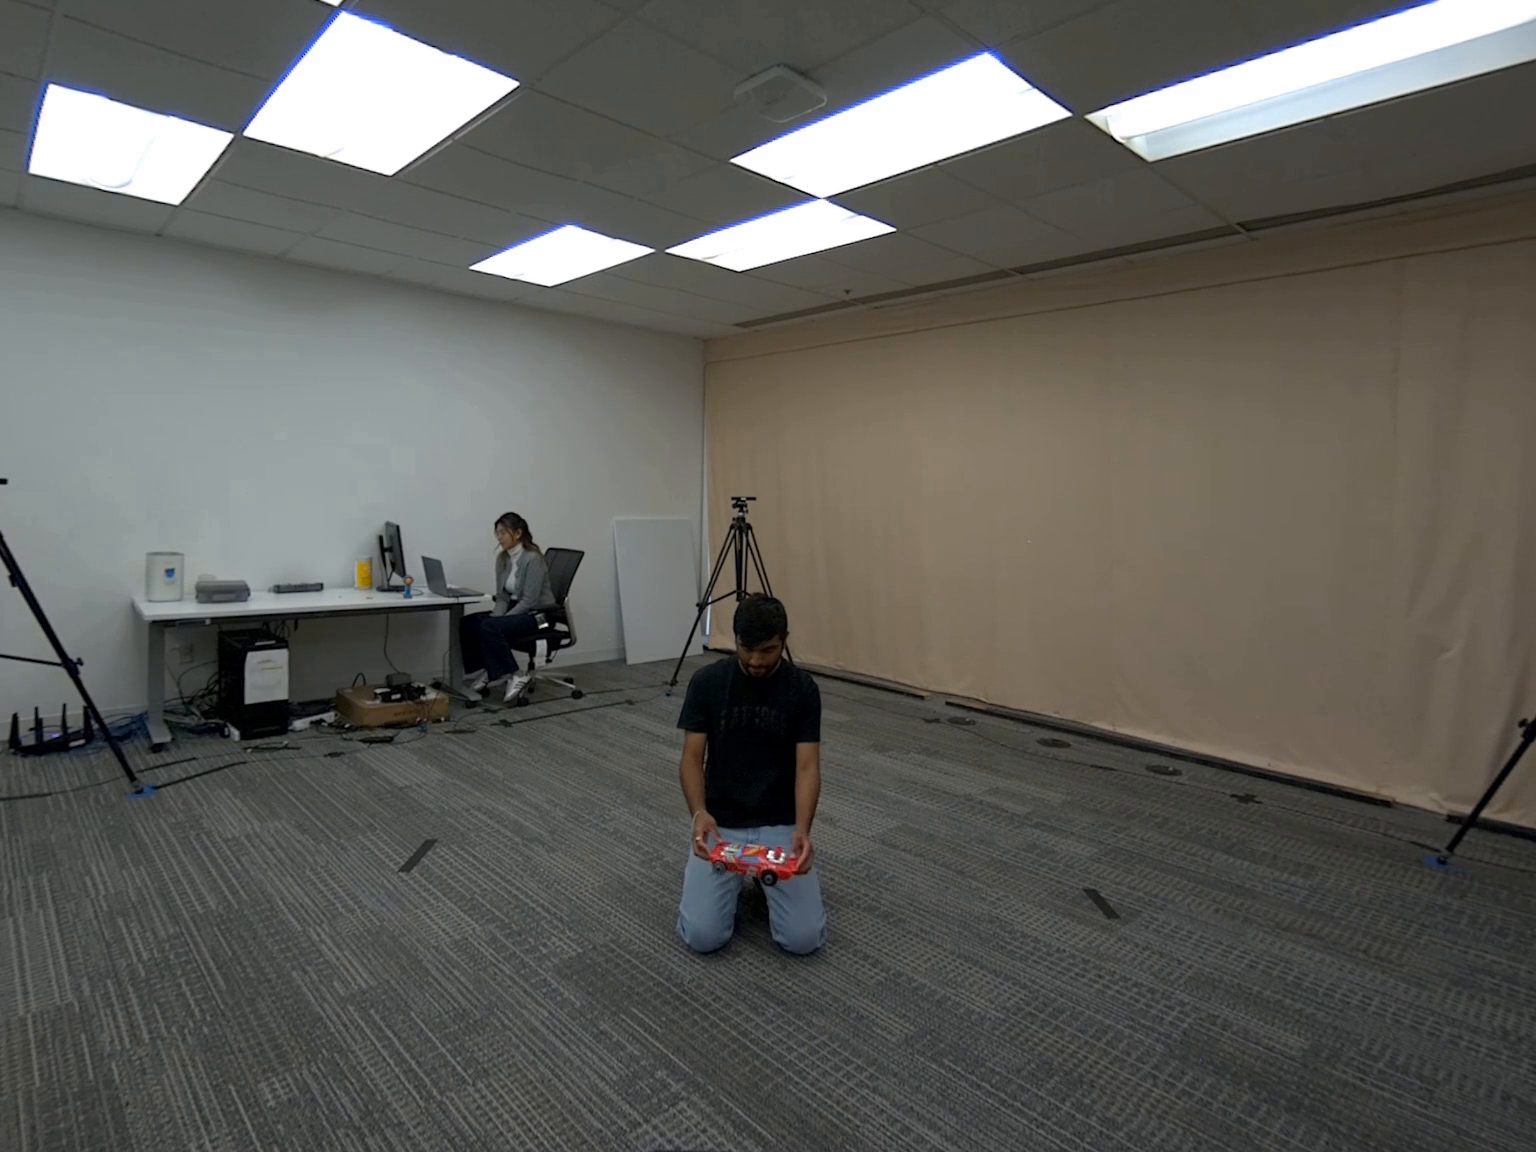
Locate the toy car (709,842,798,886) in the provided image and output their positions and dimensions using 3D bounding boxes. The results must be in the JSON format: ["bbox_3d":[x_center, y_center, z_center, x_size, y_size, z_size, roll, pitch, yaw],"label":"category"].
[{"bbox_3d":[-0.042,0.831,2.422,0.257,0.083,0.129,-3,6,13],"label":"toy car"}]
